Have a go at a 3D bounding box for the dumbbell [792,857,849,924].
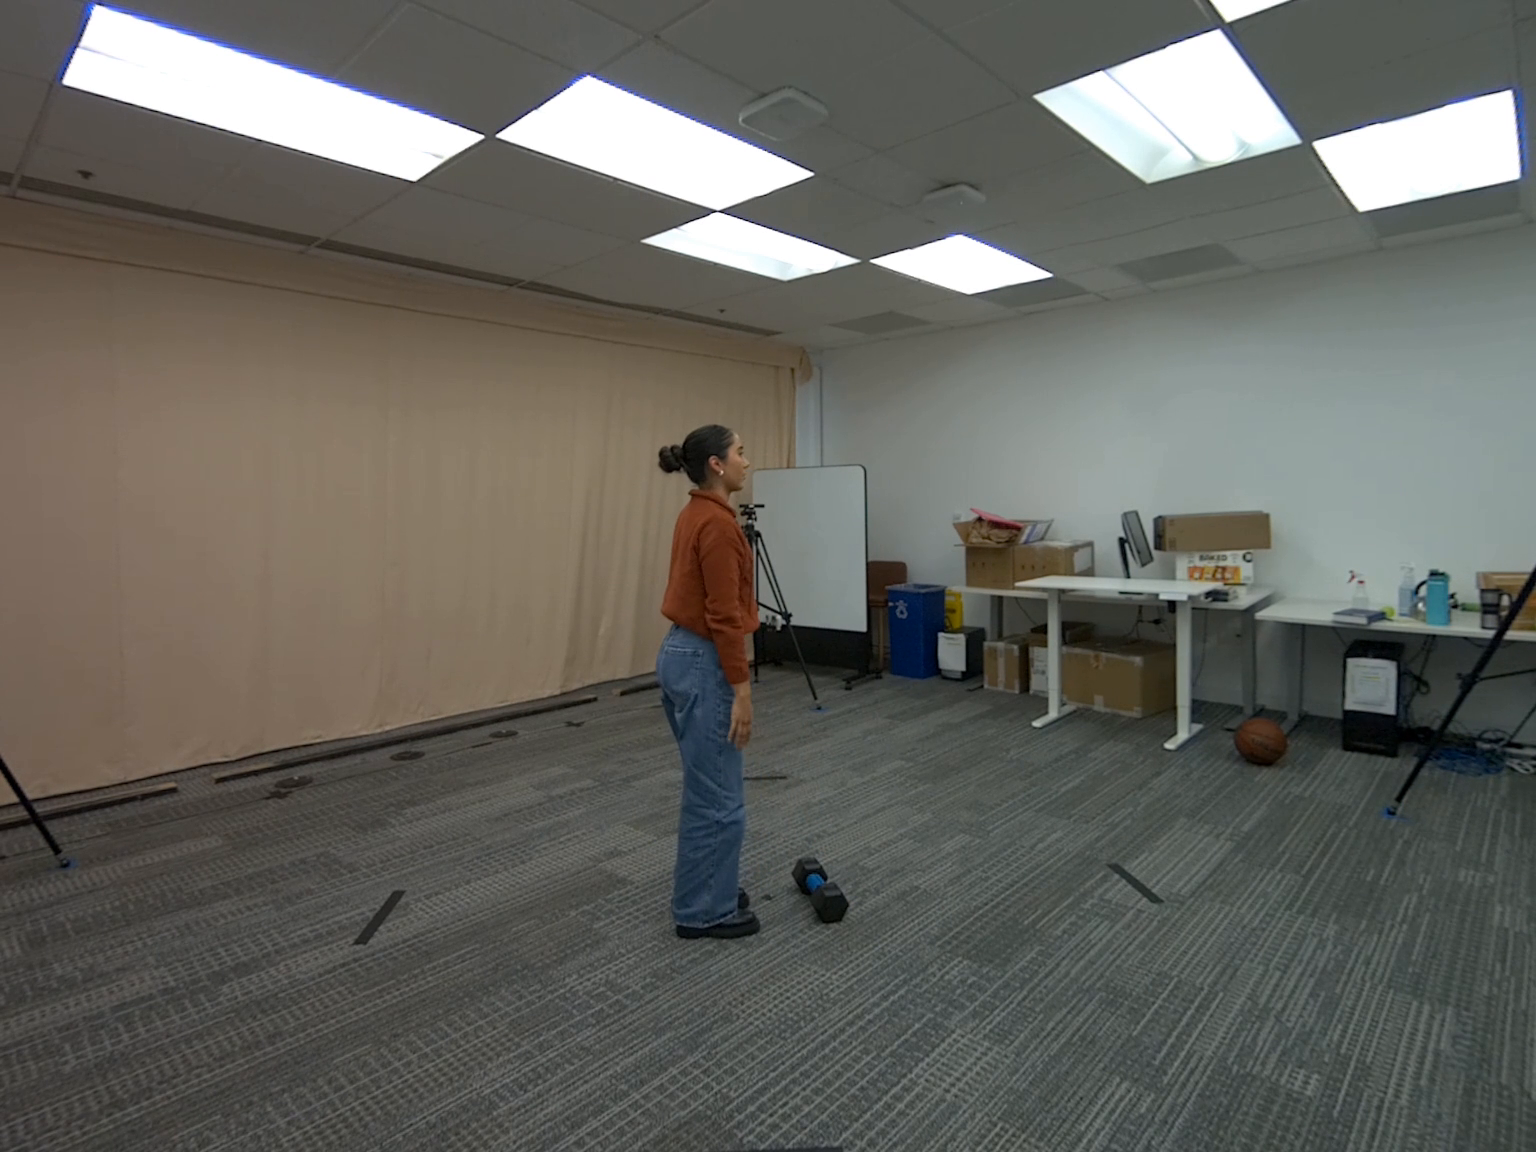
[{"bbox_3d":[0.182,1.087,2.924,0.121,0.108,0.298,-4,6,-14],"label":"dumbbell"}]
